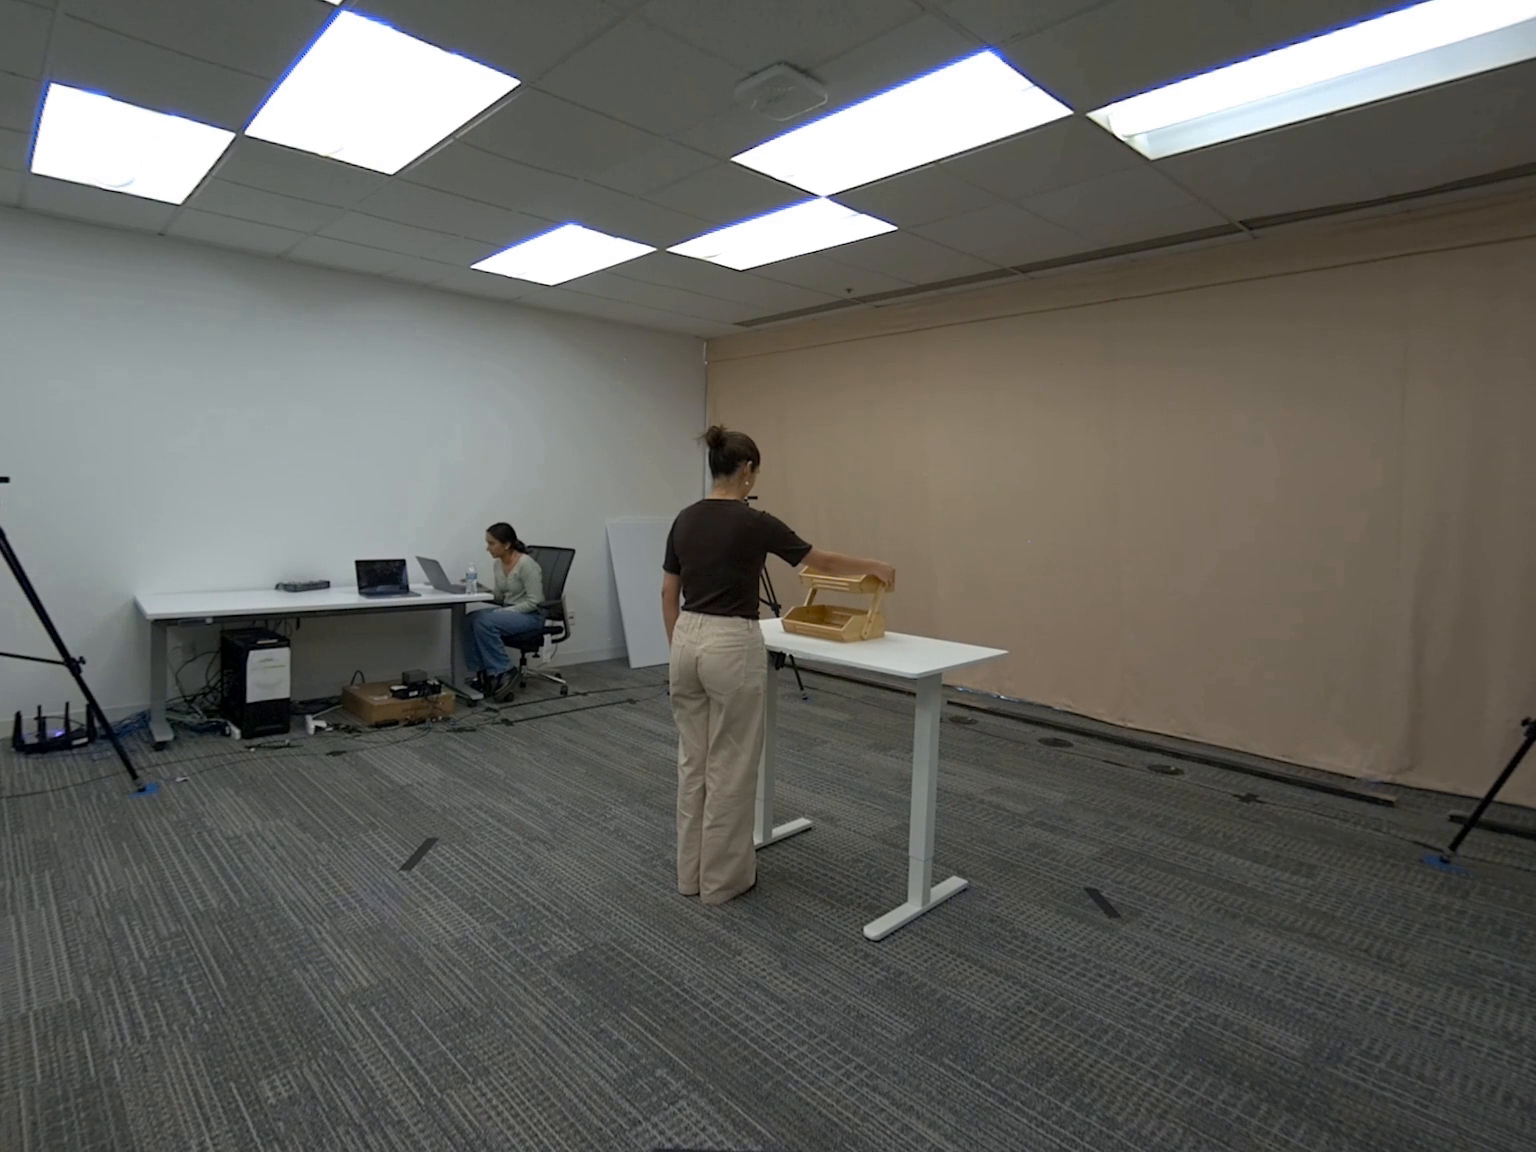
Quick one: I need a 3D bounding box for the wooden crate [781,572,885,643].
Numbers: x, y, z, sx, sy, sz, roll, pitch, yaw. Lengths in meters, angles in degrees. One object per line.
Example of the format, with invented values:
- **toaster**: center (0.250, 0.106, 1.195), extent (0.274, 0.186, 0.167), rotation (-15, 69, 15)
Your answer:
- **wooden crate**: center (0.258, 0.090, 3.195), extent (0.295, 0.273, 0.333), rotation (-1, 5, -44)
